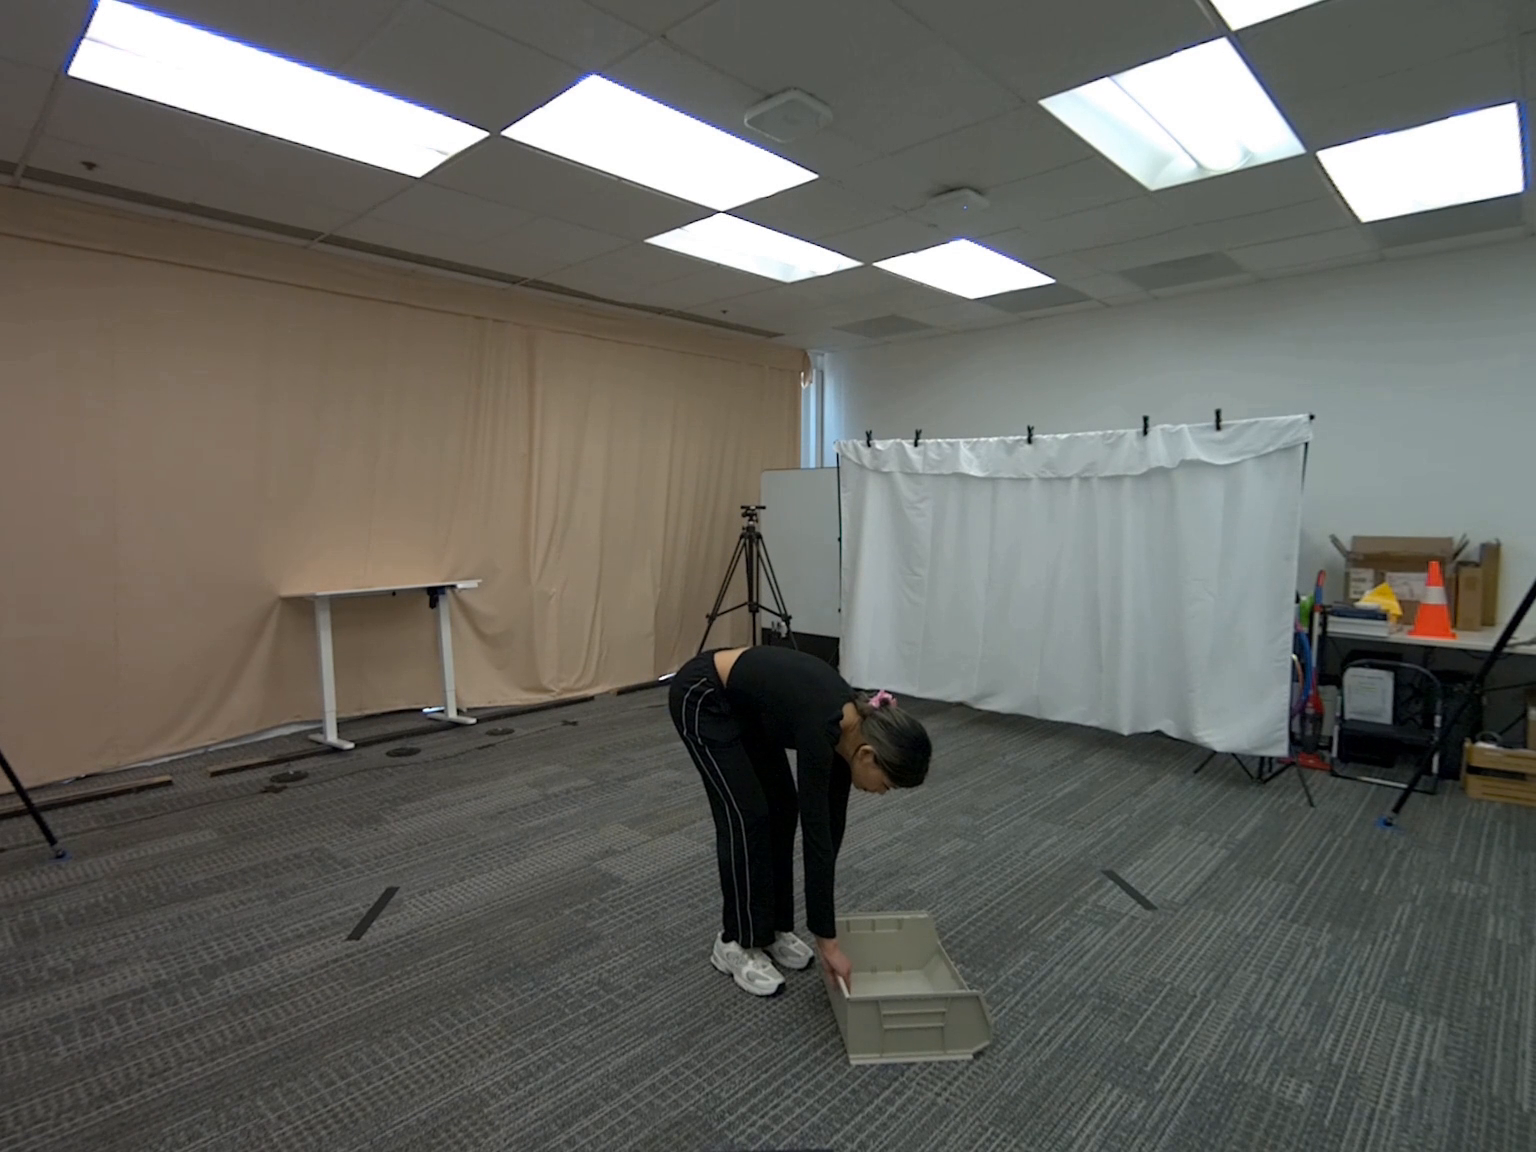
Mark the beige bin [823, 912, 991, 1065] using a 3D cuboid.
[{"bbox_3d":[0.356,1.118,2.302,0.375,0.188,0.426,-1,6,-7],"label":"beige bin"}]
